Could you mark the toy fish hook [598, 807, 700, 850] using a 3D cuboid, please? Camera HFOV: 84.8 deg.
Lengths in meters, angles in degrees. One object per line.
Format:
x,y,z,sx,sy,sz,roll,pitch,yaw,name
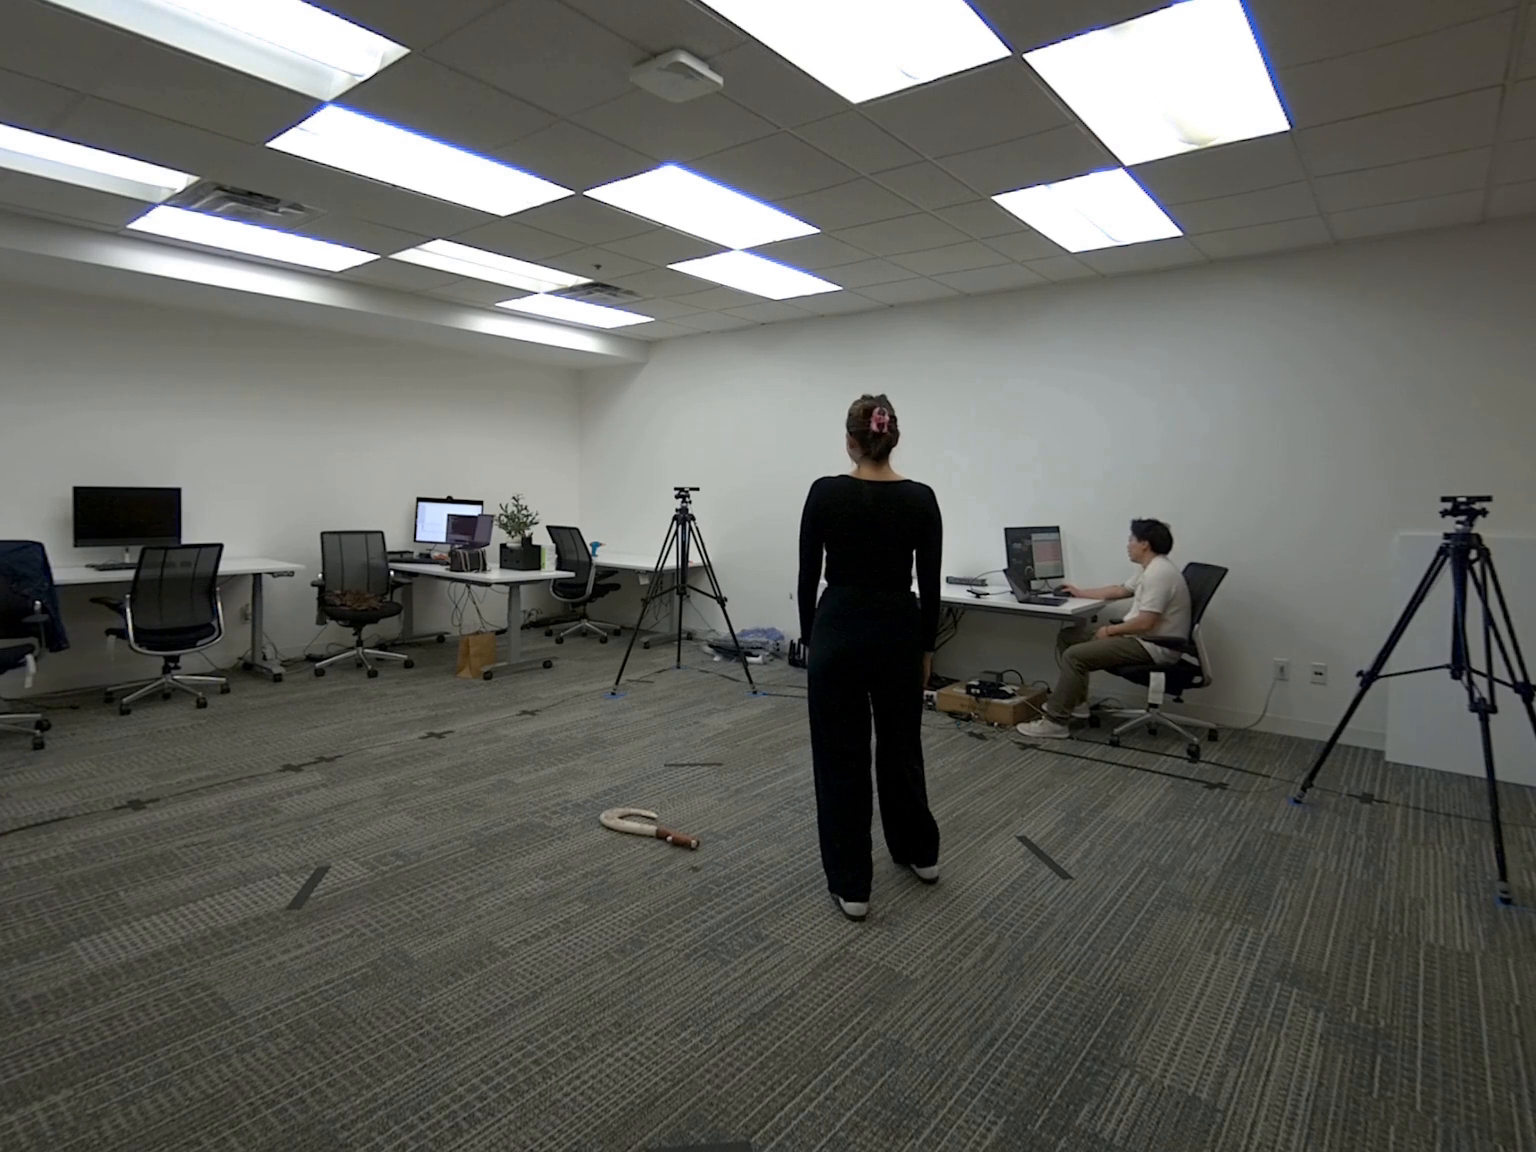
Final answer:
-0.468,1.008,3.446,0.523,0.048,0.219,5,8,33,toy fish hook
